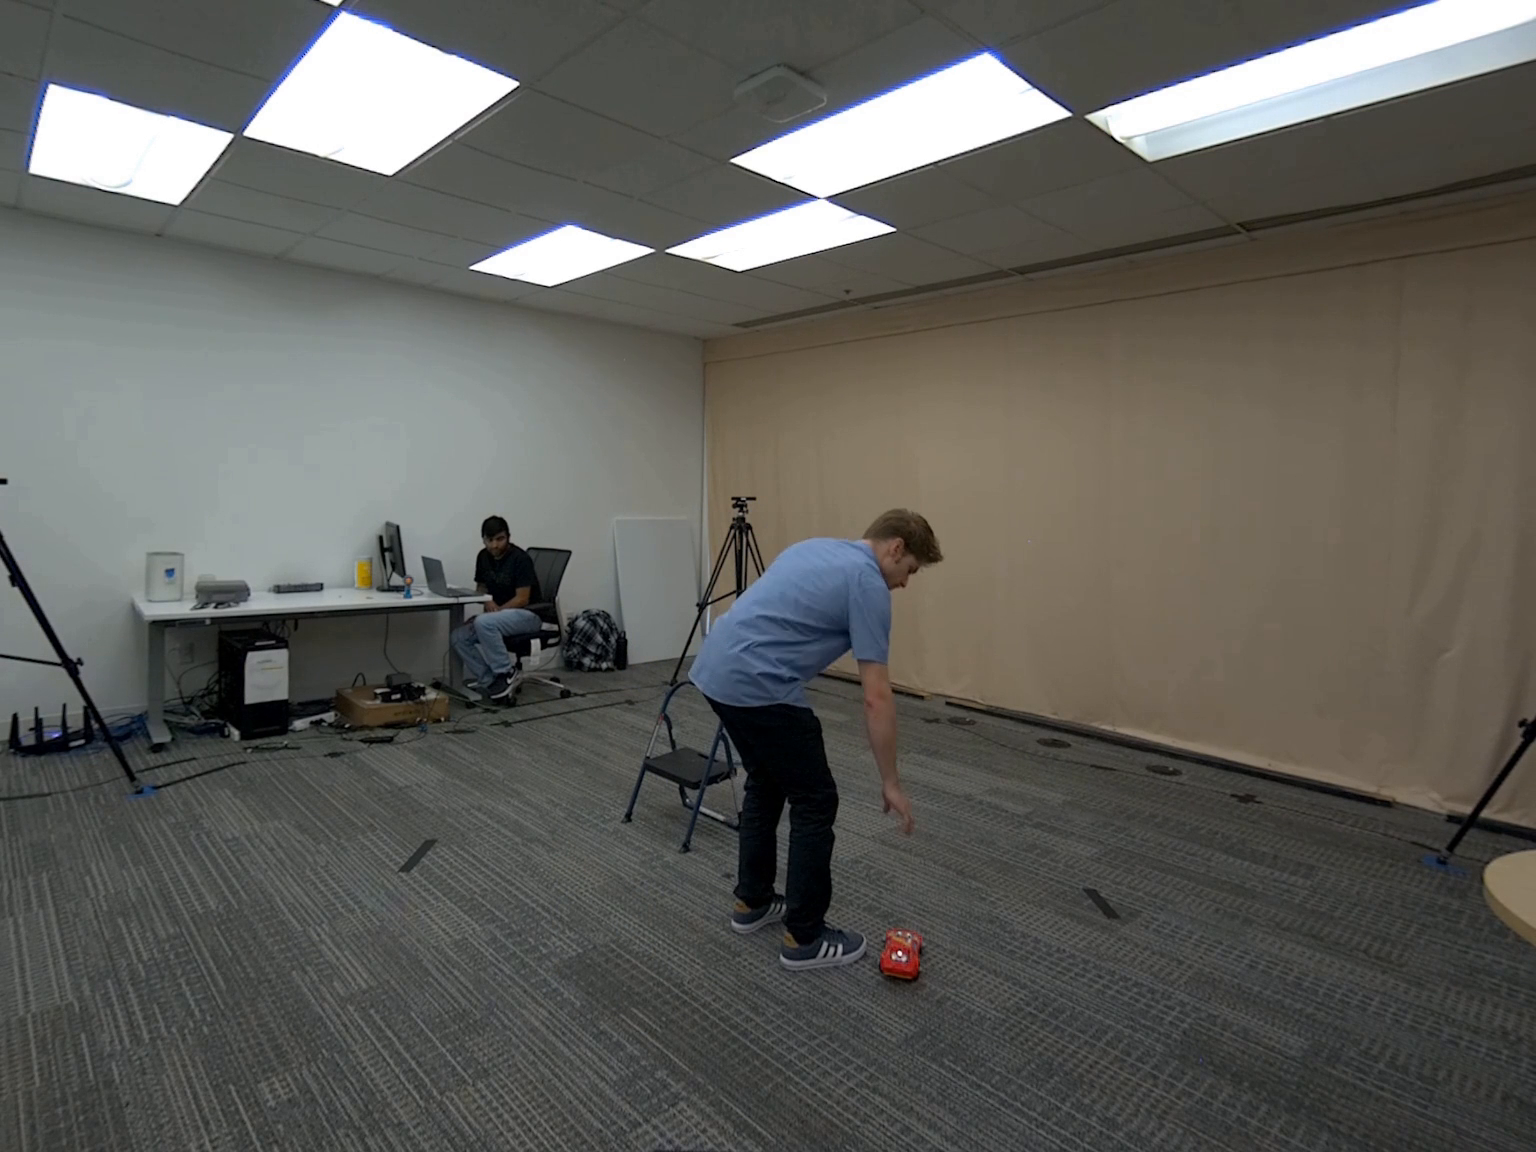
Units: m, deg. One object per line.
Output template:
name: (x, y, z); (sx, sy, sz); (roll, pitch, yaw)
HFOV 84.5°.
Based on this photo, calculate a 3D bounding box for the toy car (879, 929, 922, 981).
toy car: (0.396, 1.141, 2.520); (0.132, 0.083, 0.250); (4, -6, 13)
